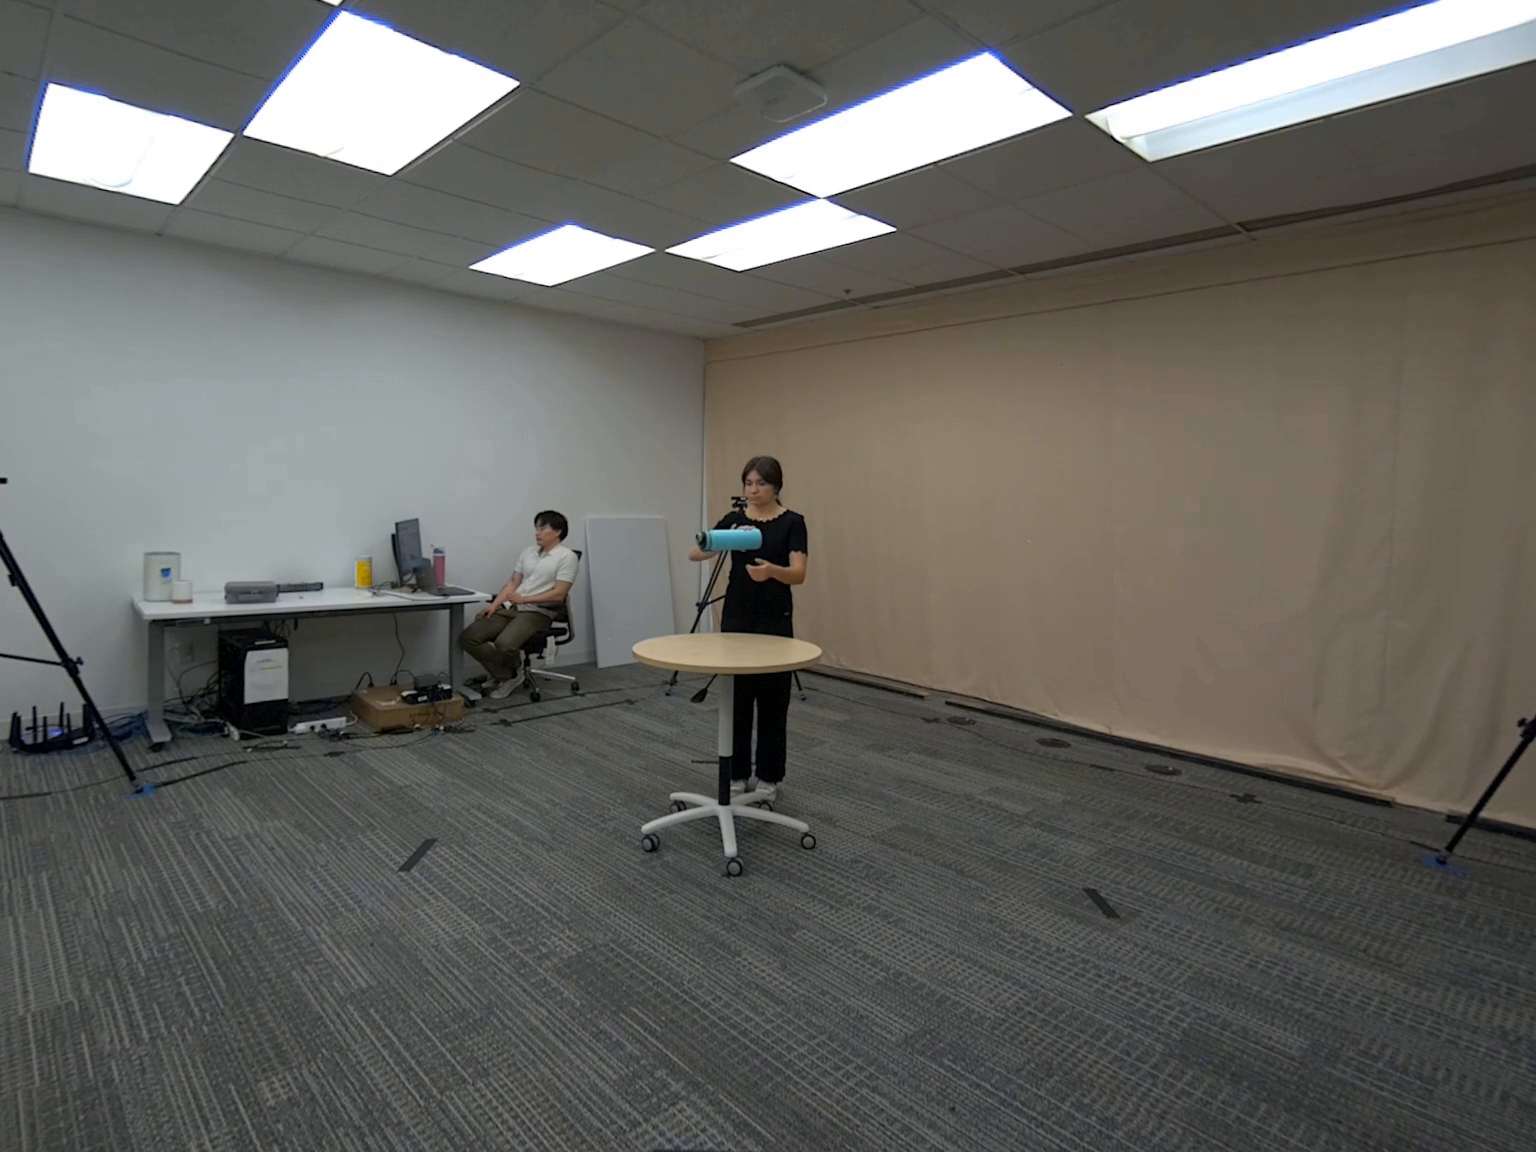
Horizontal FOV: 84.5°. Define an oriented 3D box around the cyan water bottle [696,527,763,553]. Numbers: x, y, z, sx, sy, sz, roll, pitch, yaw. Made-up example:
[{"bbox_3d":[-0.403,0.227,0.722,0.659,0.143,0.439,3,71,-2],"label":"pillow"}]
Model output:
[{"bbox_3d":[-0.189,-0.150,3.607,0.280,0.092,0.094,-4,6,-18],"label":"cyan water bottle"}]
